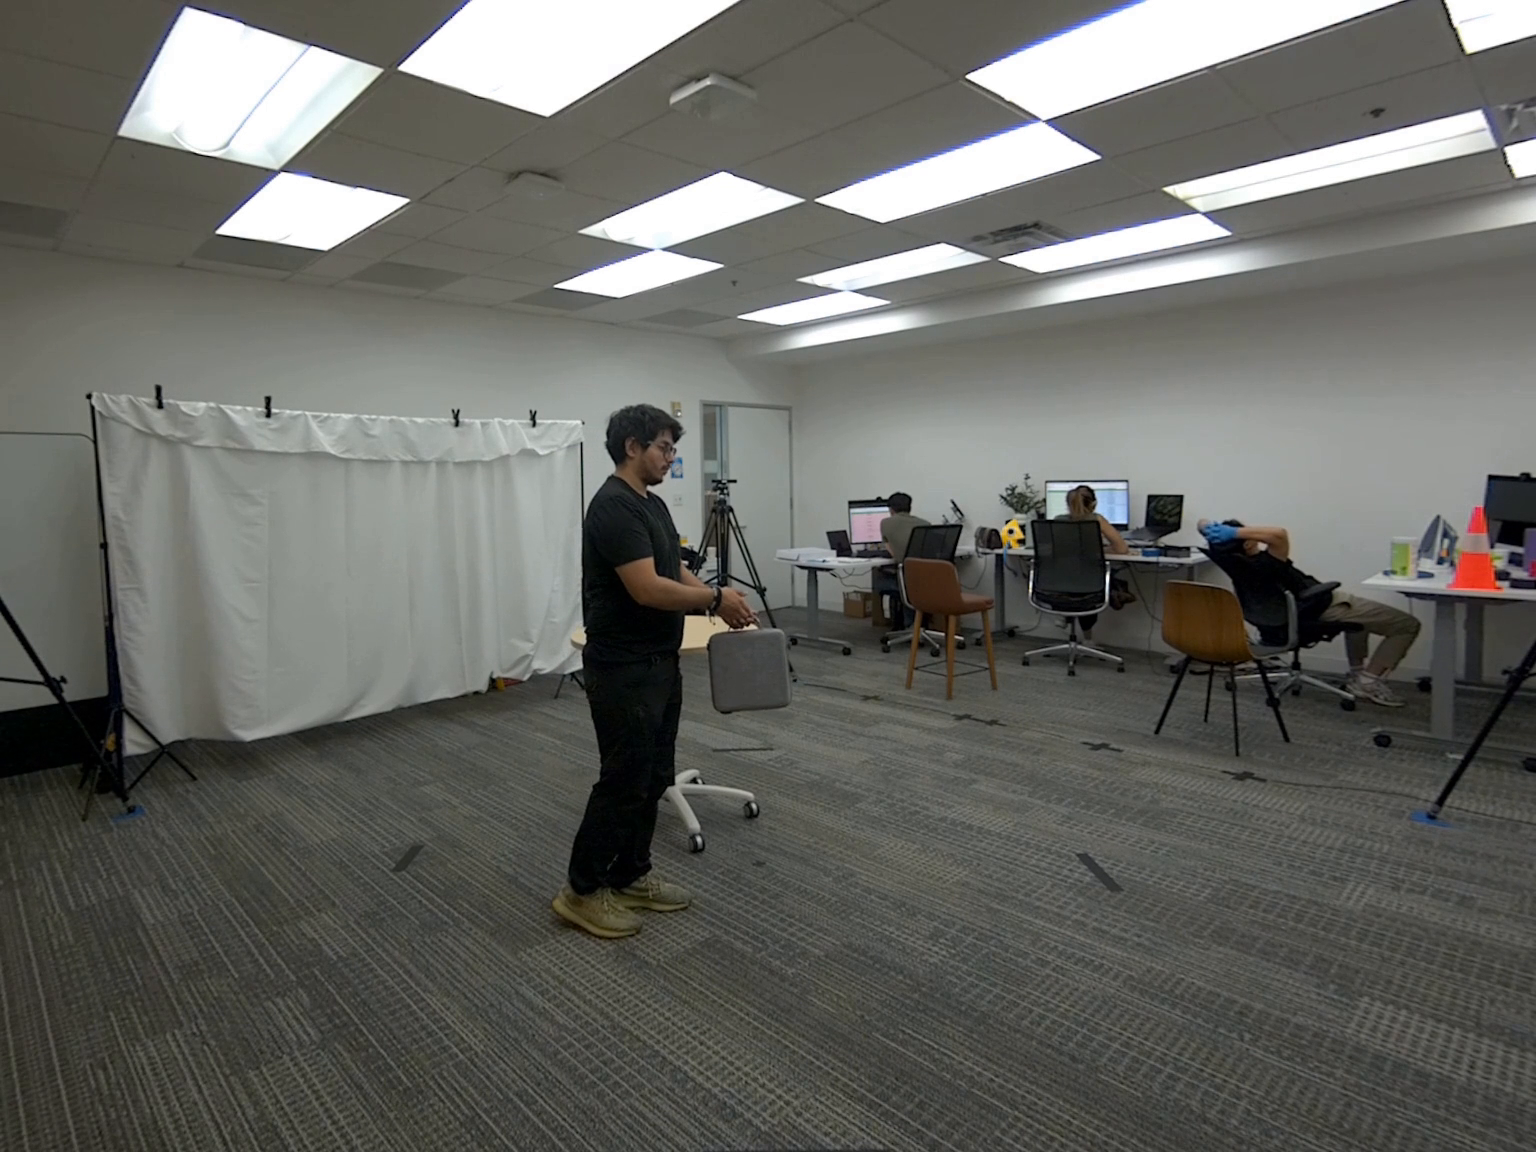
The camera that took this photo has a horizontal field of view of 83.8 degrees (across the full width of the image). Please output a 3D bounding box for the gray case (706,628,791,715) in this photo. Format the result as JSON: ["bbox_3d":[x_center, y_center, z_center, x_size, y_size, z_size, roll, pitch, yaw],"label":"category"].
[{"bbox_3d":[-0.057,0.297,2.754,0.257,0.261,0.104,-6,-3,3],"label":"gray case"}]
